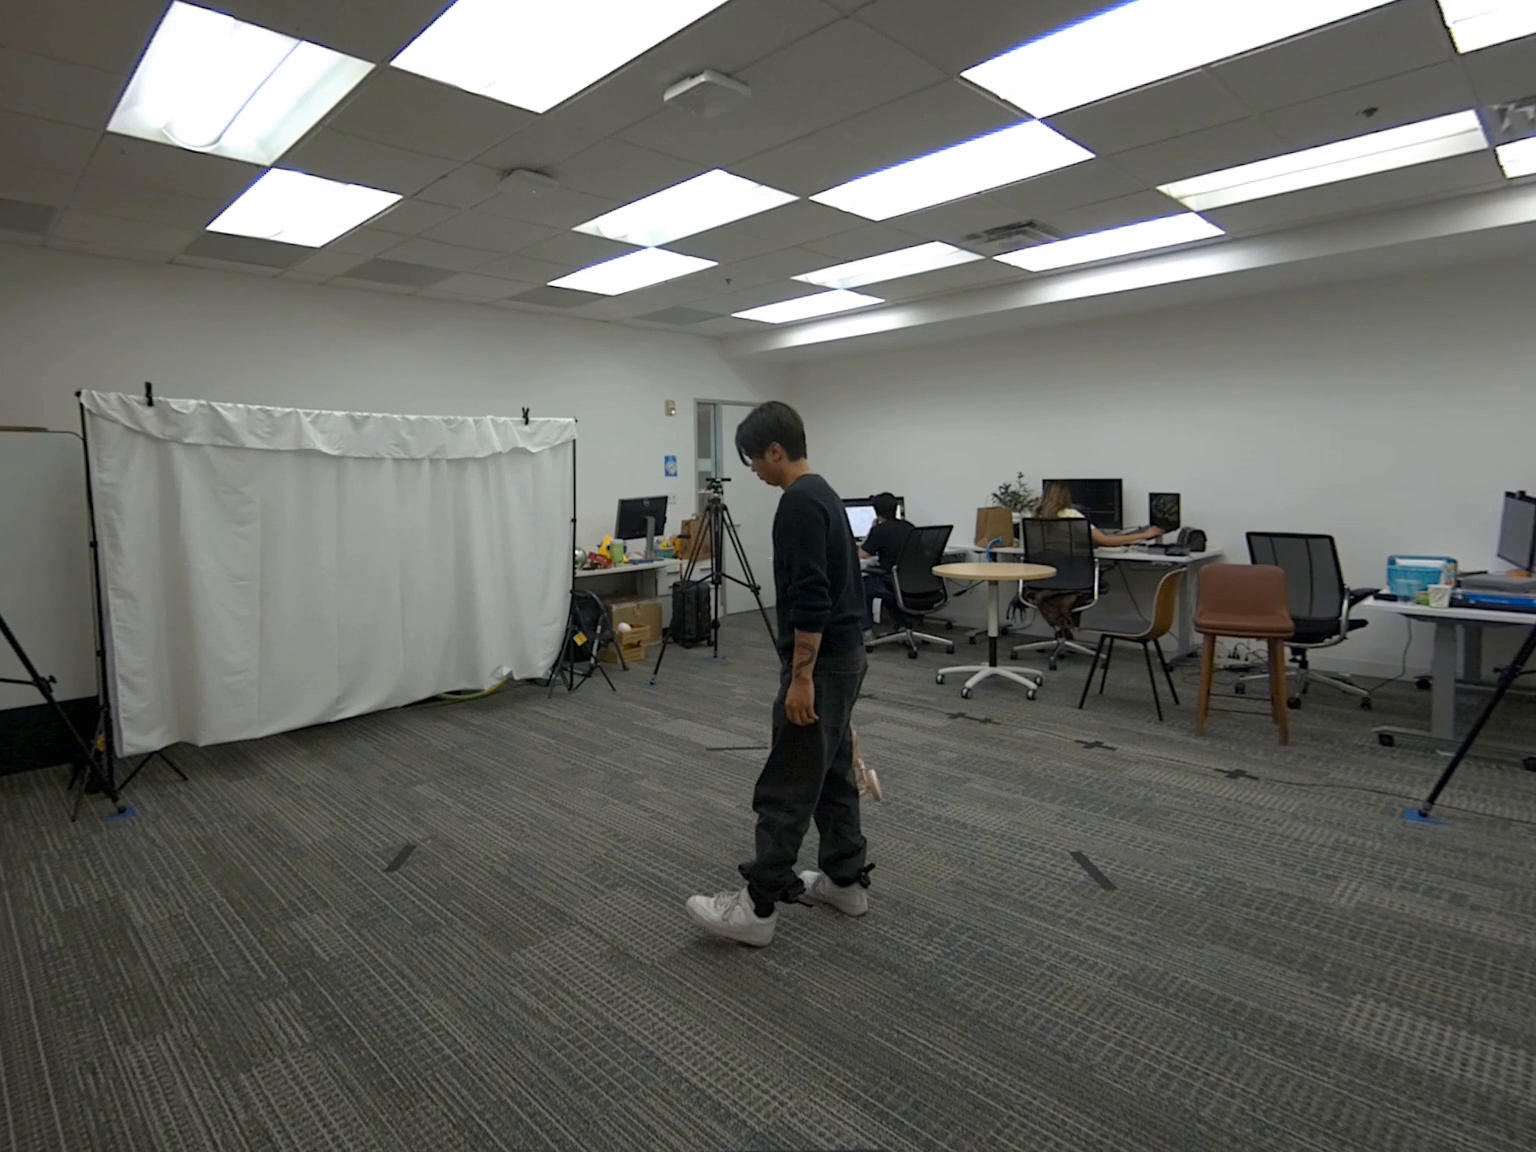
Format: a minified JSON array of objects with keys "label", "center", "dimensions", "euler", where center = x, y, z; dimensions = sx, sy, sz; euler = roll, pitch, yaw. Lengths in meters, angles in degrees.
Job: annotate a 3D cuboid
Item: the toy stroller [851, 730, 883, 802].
[{"label":"toy stroller","center":[0.223,0.615,3.128],"dimensions":[0.283,0.540,0.336],"euler":[-16,-7,9]}]
